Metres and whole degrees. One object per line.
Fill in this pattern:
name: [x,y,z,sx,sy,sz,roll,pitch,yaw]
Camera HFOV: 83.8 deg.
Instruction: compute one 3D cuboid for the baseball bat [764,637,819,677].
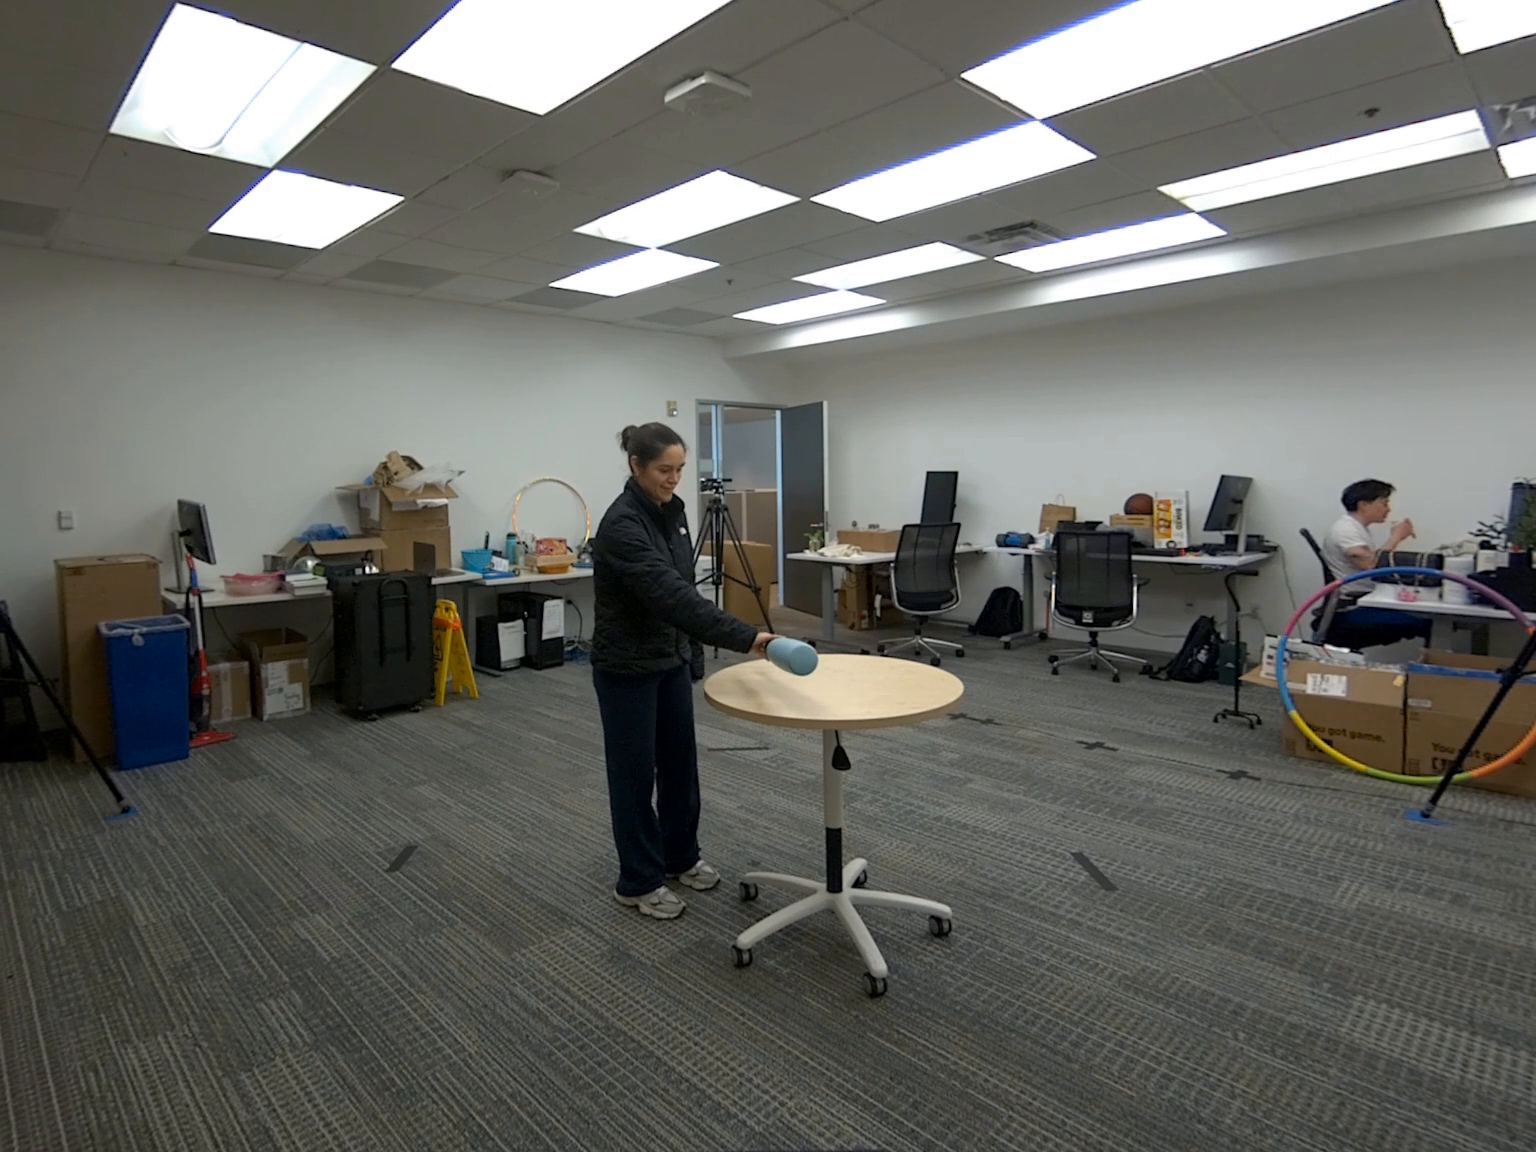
baseball bat: [0.041,0.218,2.449,0.088,0.089,0.547,-2,0,-11]
